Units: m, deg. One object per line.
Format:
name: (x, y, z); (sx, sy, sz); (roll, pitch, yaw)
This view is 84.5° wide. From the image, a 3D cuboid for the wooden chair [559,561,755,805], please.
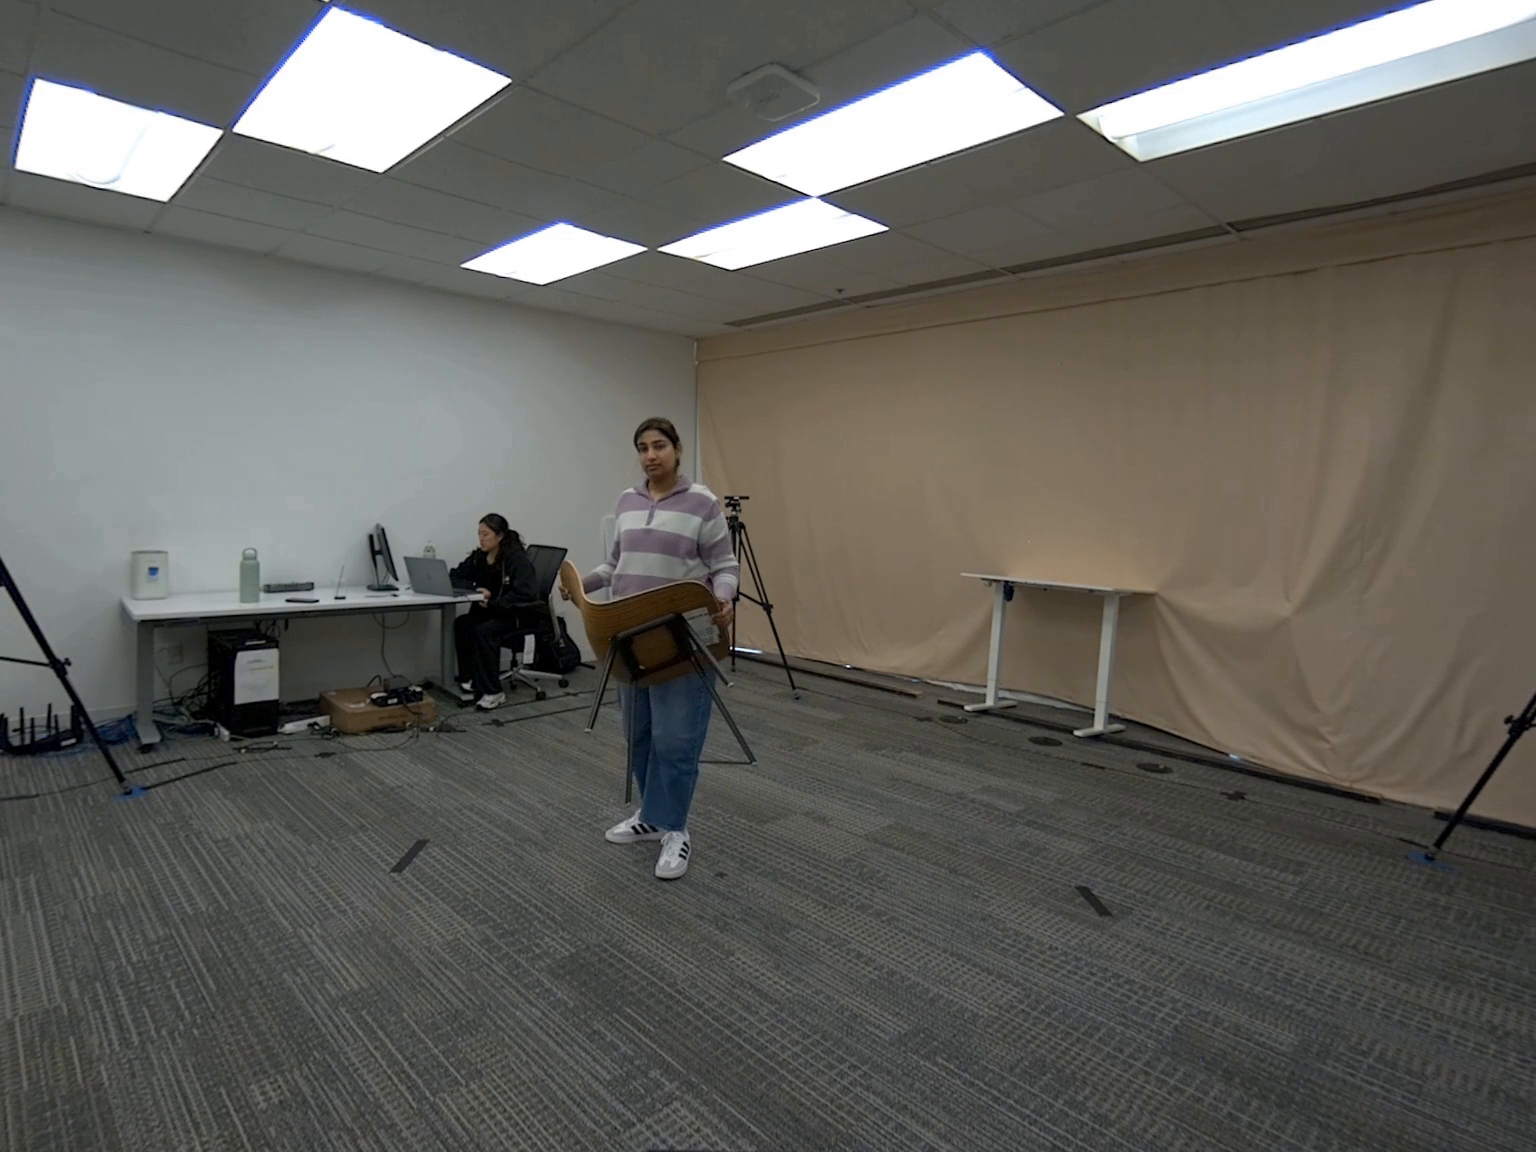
wooden chair: (-0.386, 0.252, 2.934); (0.521, 0.465, 0.904); (-20, 44, -6)
